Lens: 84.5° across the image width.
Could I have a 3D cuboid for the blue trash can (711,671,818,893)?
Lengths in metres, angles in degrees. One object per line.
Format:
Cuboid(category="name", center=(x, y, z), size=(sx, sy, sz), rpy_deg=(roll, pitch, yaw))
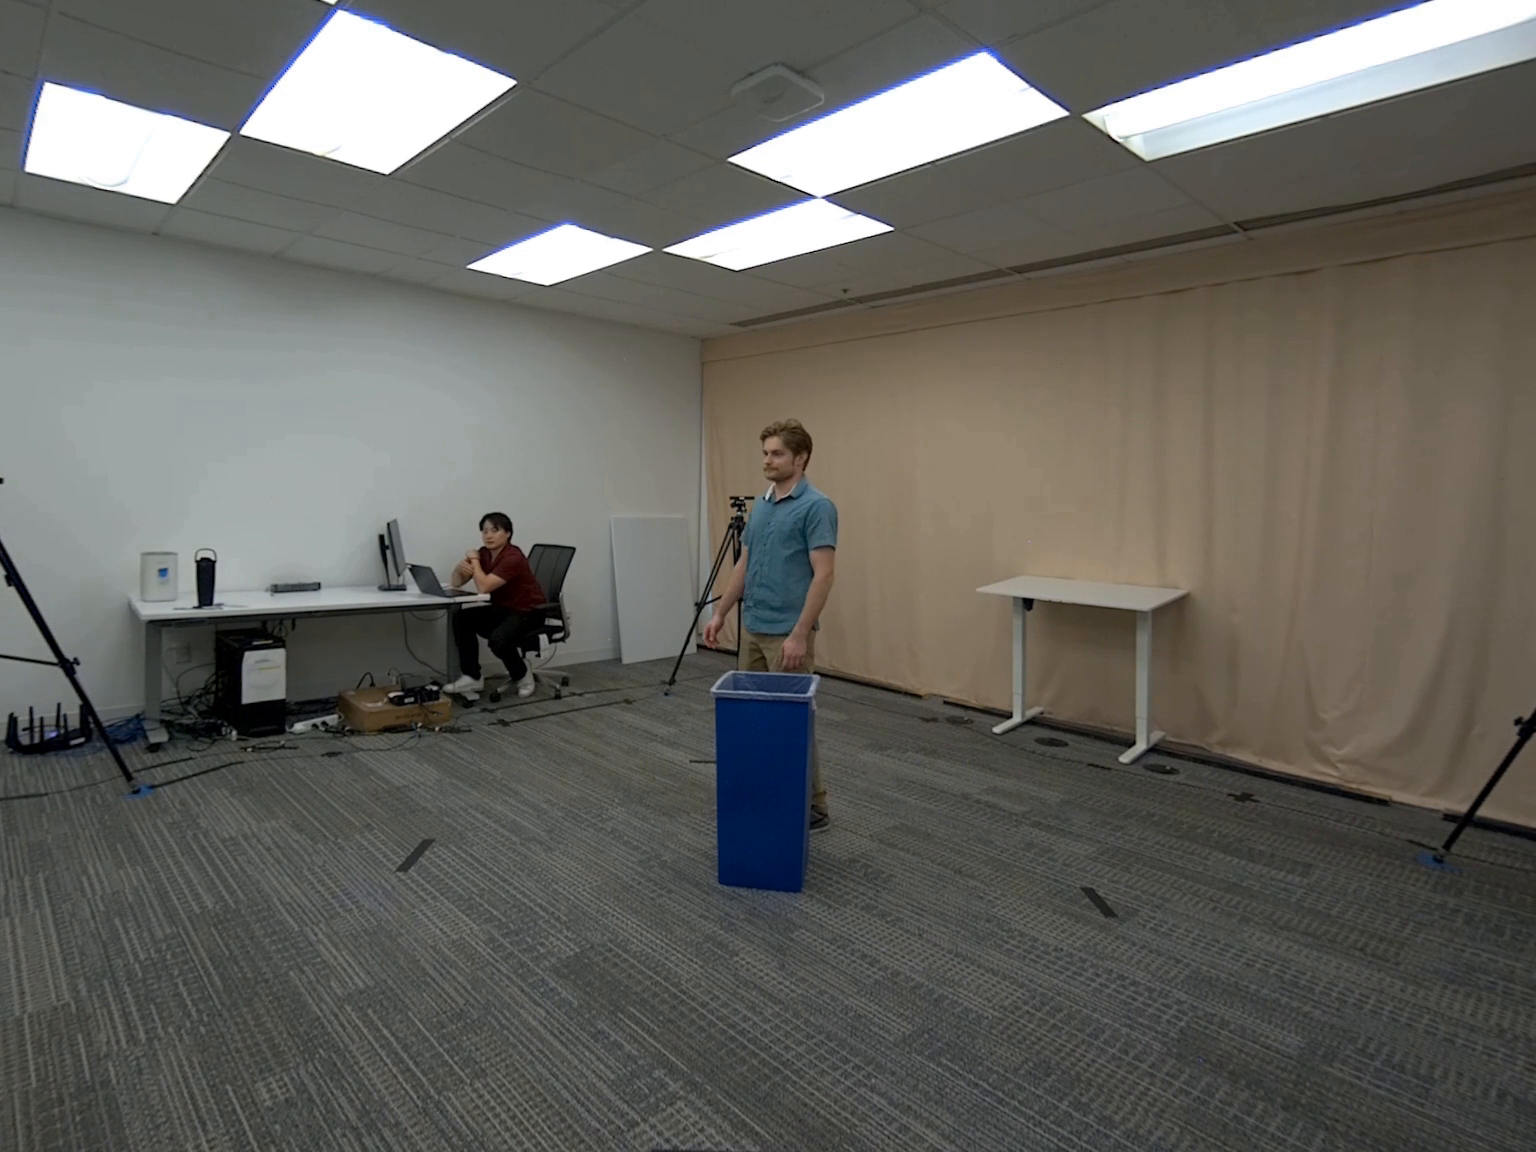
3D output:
Cuboid(category="blue trash can", center=(-0.022, 0.746, 3.135), size=(0.381, 0.711, 0.372), rpy_deg=(1, 4, 8))
